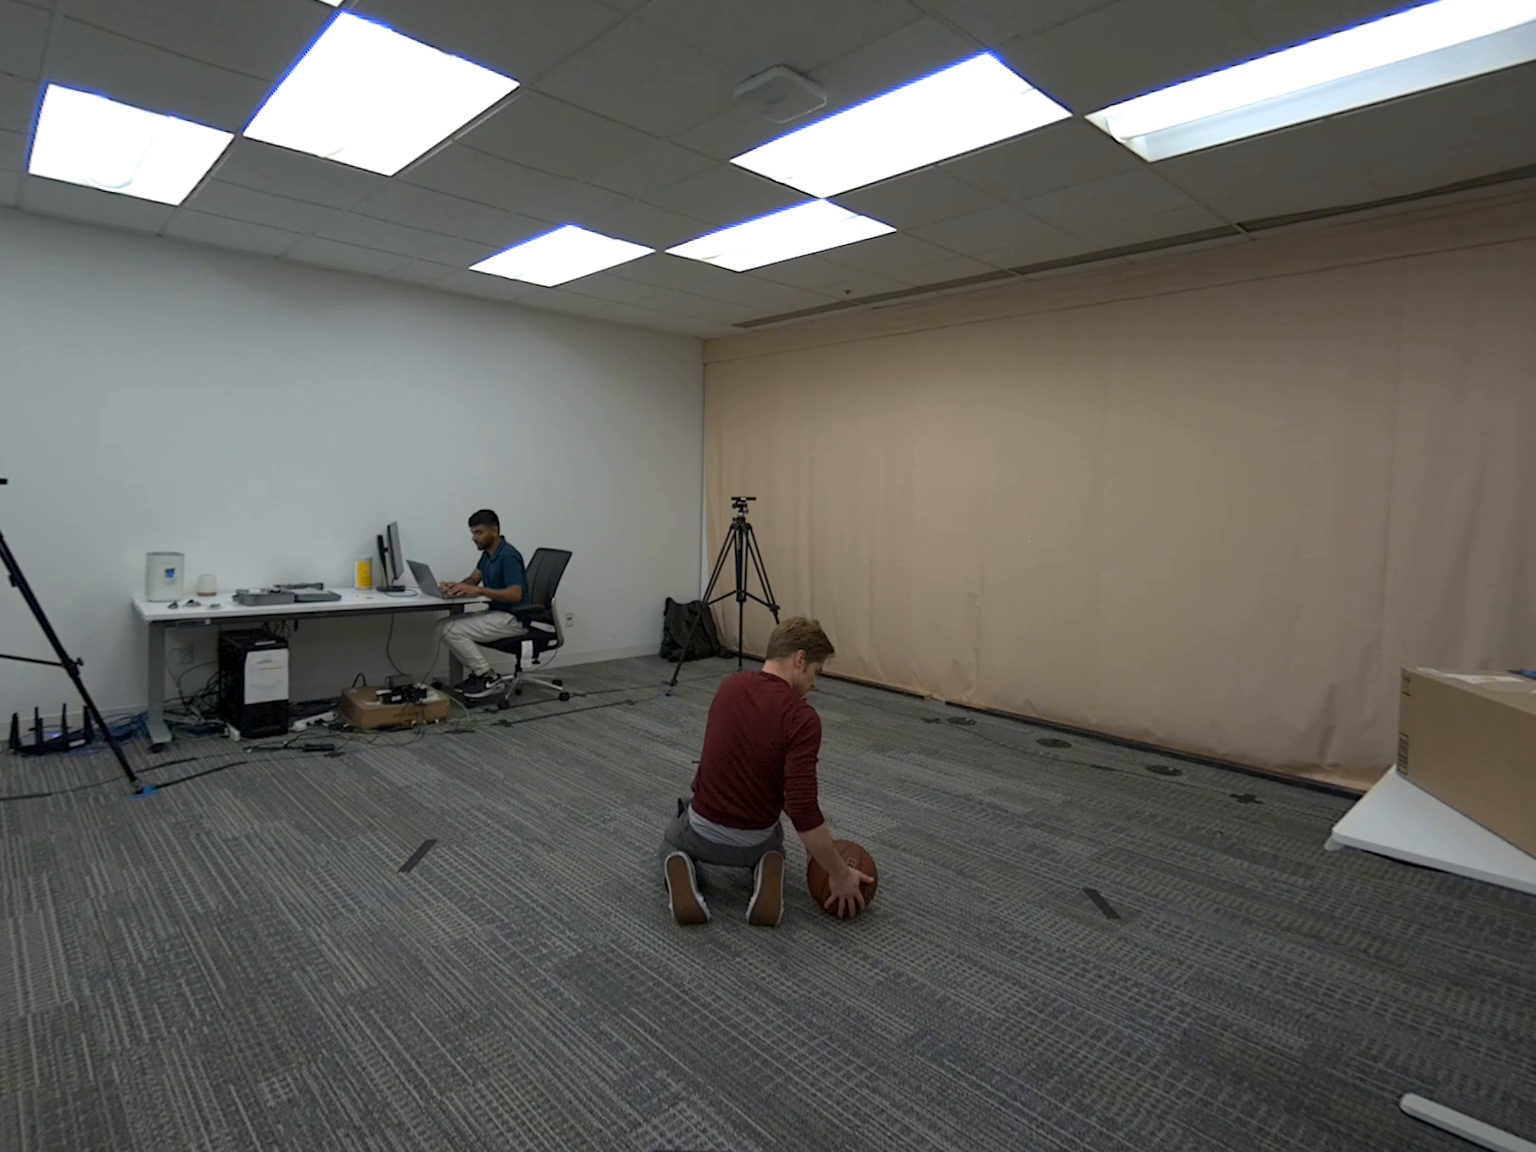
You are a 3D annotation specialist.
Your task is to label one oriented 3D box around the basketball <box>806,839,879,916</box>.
[{"bbox_3d":[0.247,1.016,2.860,0.236,0.235,0.237,1,4,-1],"label":"basketball"}]
